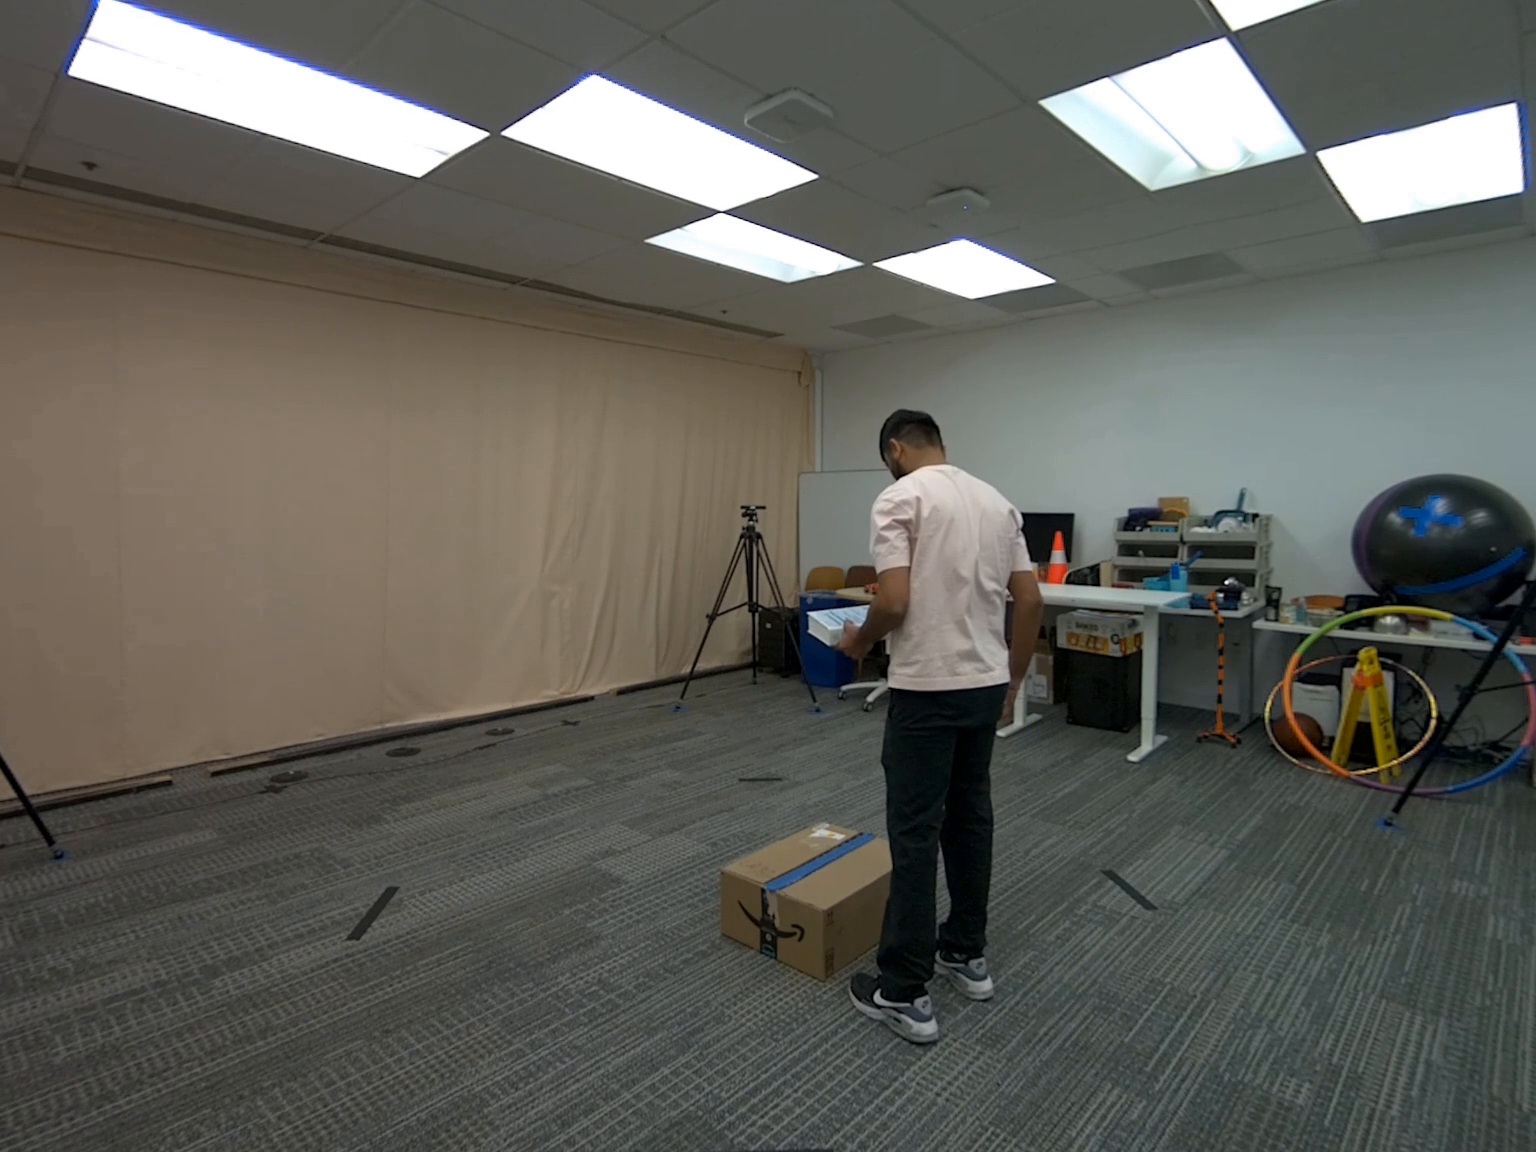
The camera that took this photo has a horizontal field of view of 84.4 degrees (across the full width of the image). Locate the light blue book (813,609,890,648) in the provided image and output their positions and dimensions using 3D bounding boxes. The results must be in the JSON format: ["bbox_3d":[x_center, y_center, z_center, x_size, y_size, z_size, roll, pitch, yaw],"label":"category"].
[{"bbox_3d":[0.298,0.157,2.647,0.257,0.058,0.195,-4,11,-15],"label":"light blue book"}]
